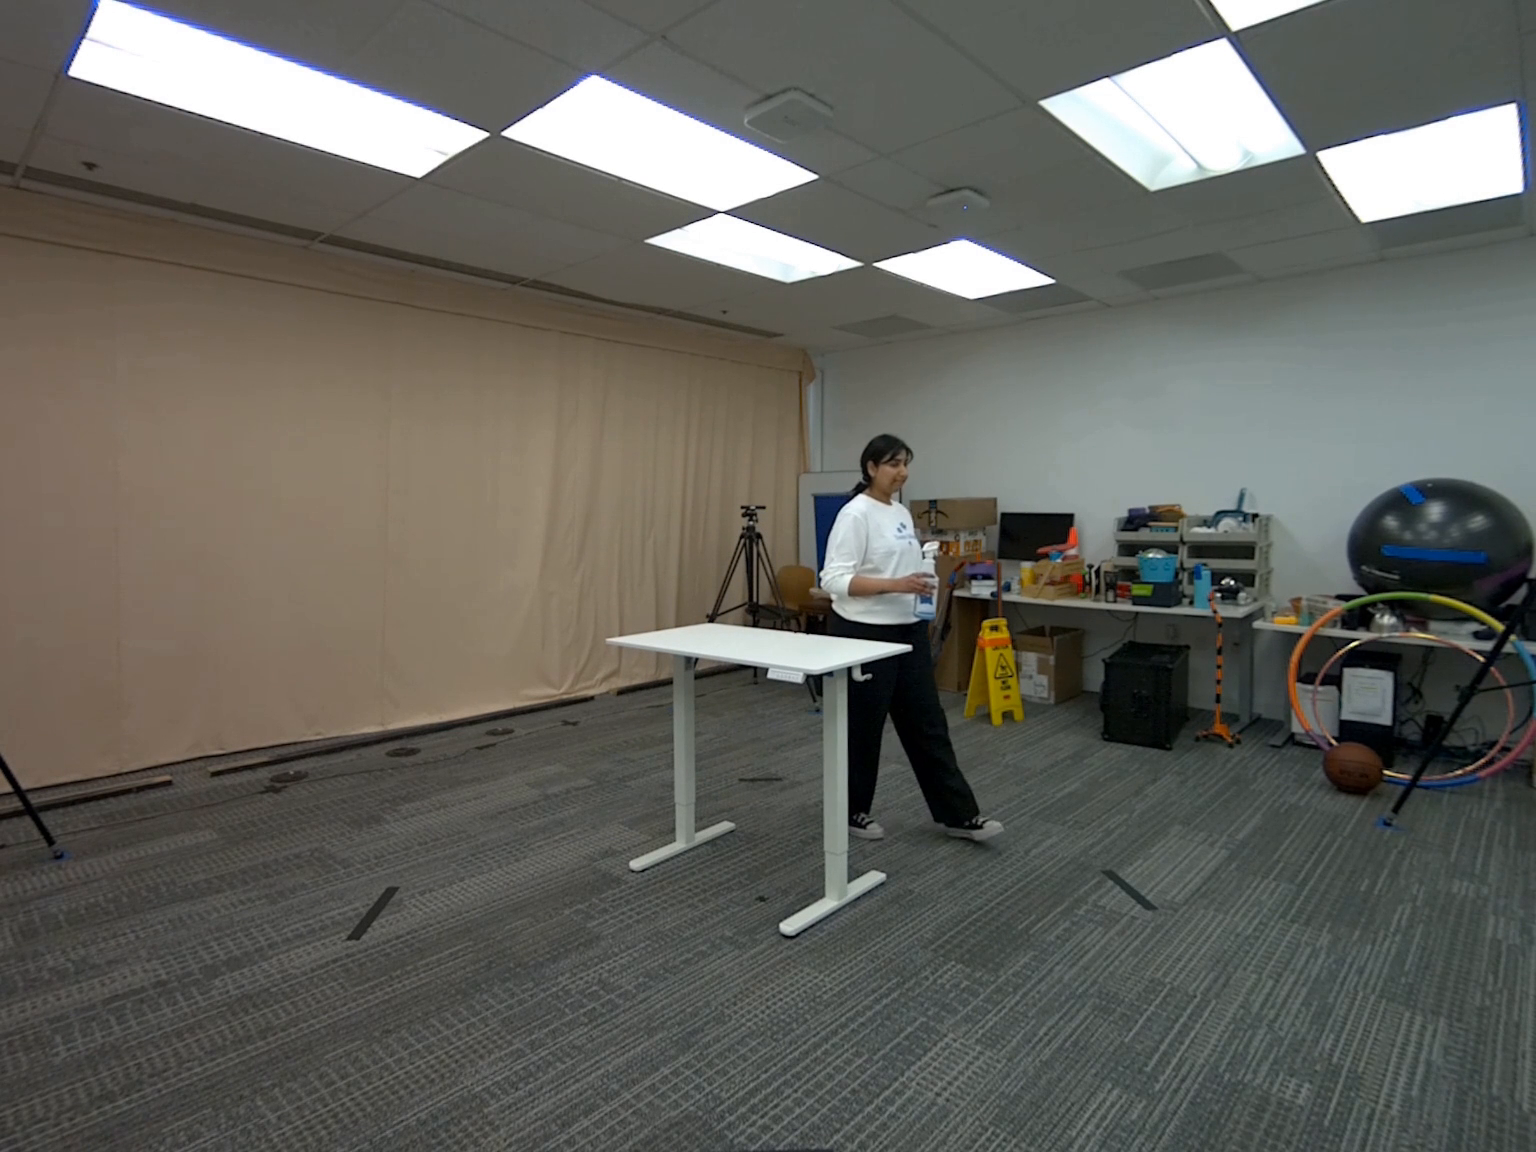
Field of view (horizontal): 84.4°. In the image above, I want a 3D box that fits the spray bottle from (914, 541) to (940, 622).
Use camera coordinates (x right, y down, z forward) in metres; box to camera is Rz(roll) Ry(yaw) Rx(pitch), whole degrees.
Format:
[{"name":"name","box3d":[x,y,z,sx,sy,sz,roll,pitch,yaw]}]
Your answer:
[{"name":"spray bottle","box3d":[0.624,0.016,3.276,0.088,0.296,0.089,1,8,-17]}]
